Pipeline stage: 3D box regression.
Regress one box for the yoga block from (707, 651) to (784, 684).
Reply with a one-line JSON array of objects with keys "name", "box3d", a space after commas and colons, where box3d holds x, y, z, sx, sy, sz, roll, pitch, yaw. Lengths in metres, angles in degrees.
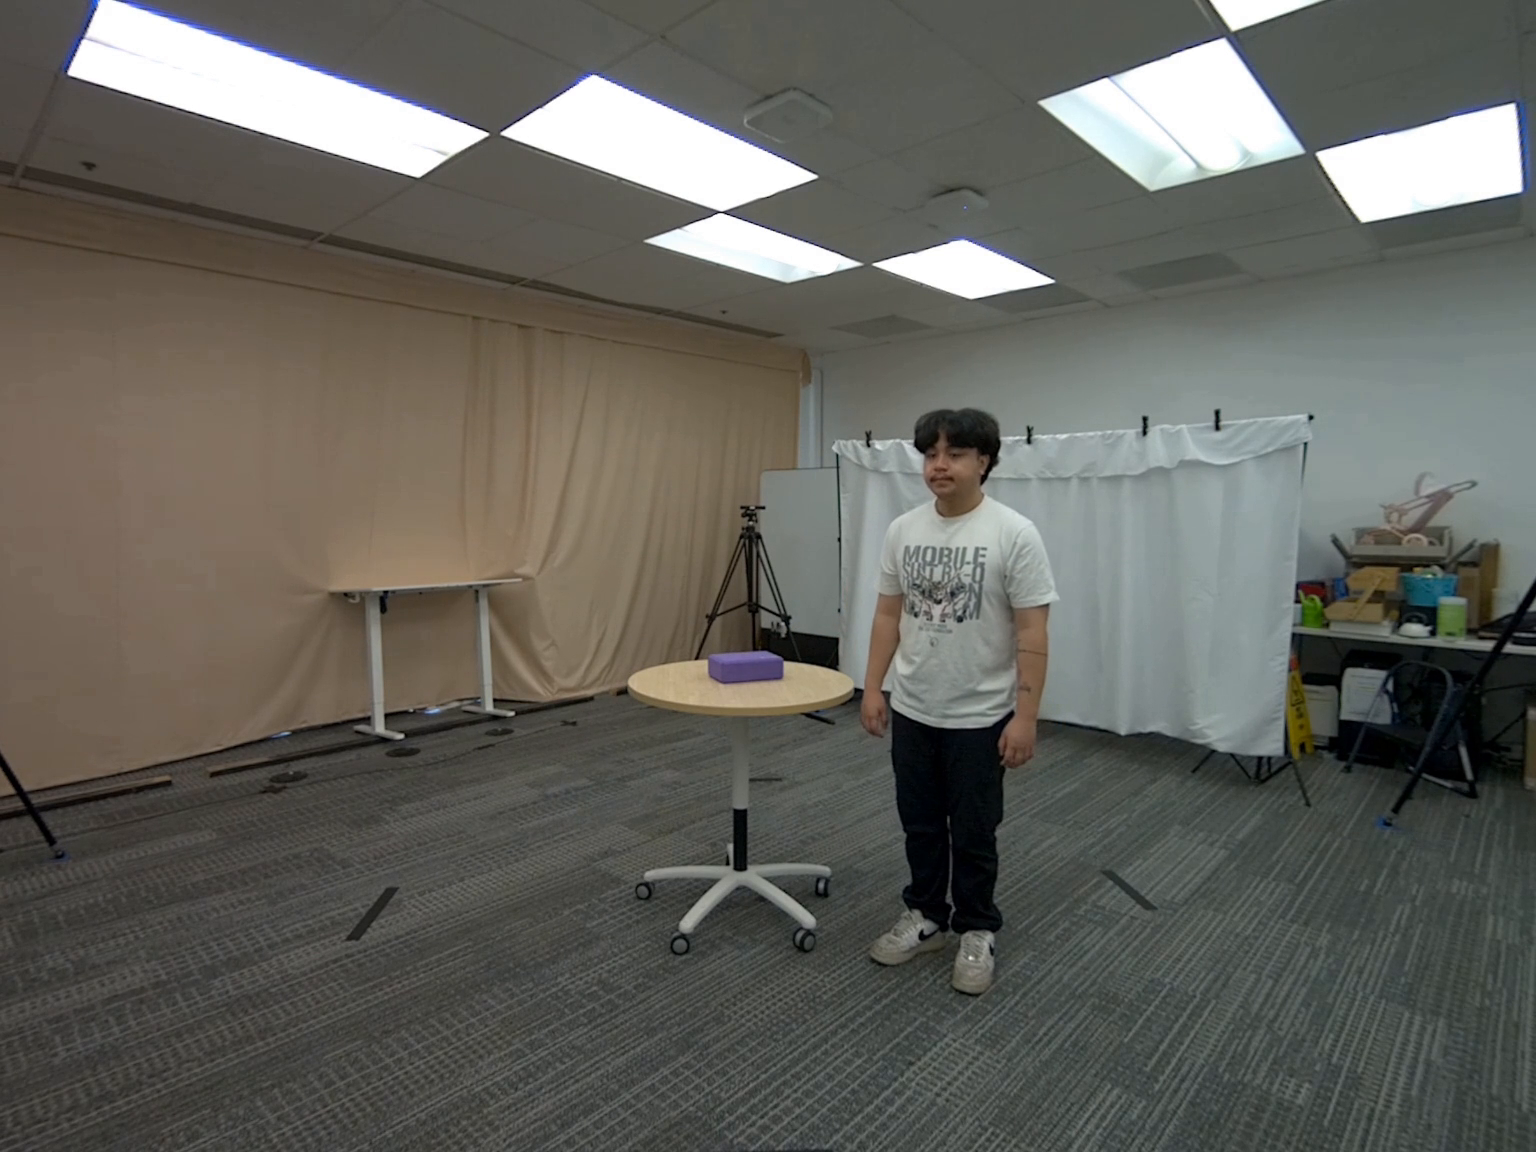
[{"name": "yoga block", "box3d": [-0.077, 0.315, 2.904, 0.224, 0.076, 0.152, -1, 5, -21]}]
